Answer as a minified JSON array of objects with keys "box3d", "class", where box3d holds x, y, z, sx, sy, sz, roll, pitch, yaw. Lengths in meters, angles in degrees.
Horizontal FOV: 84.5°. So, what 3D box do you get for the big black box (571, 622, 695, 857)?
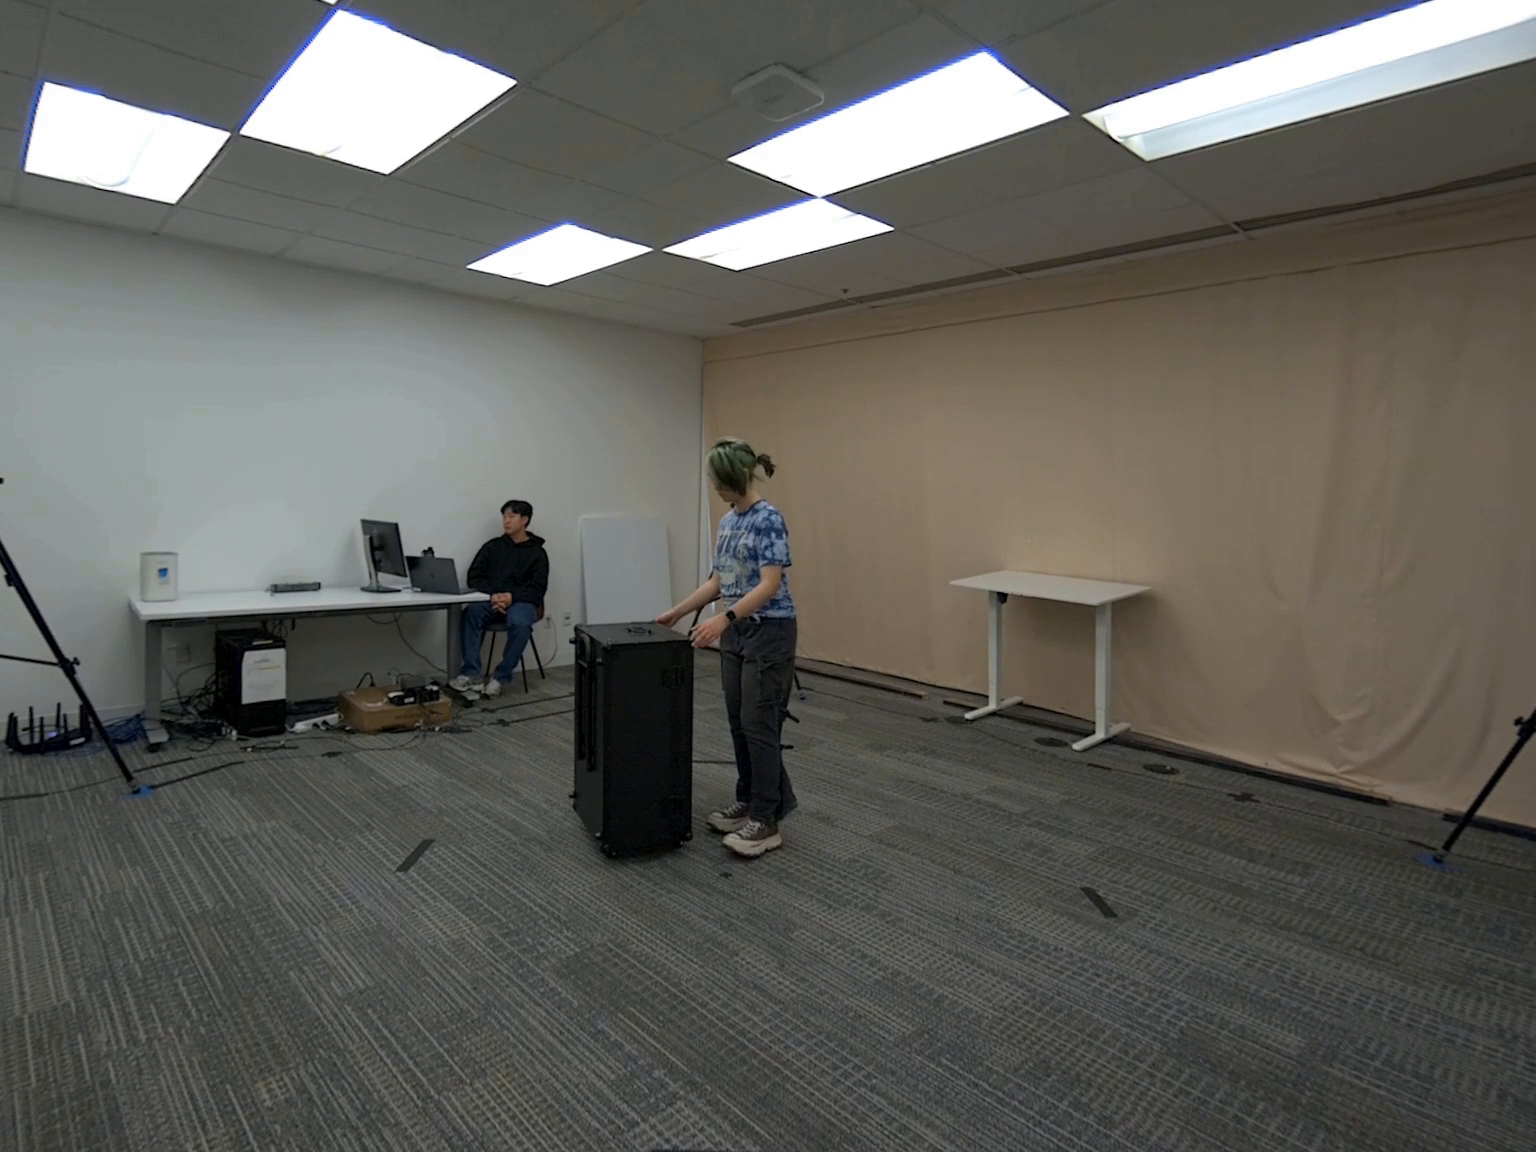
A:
[{"box3d":[-0.565,0.651,3.356,0.389,0.859,0.532,-2,4,-25],"class":"big black box"}]
